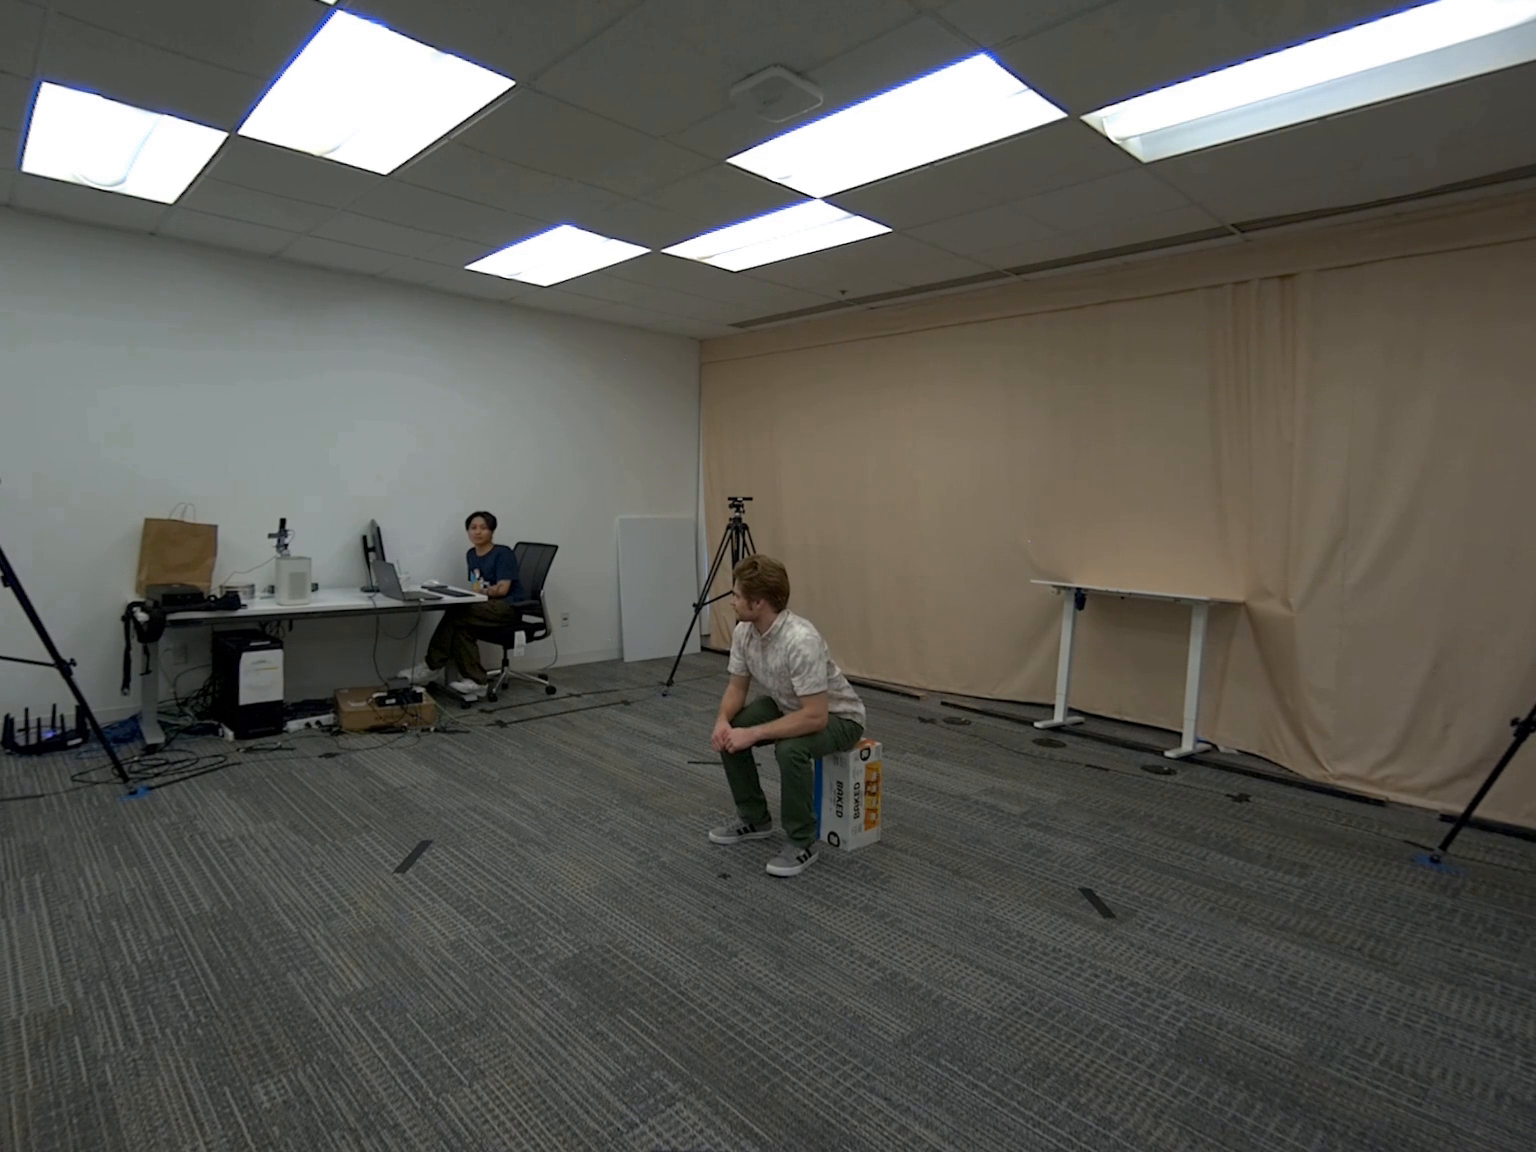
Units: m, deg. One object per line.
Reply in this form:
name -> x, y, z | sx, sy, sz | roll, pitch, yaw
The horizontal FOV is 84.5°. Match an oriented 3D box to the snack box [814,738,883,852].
snack box -> 0.276, 0.881, 3.535 | 0.201, 0.404, 0.349 | -3, 5, -41
